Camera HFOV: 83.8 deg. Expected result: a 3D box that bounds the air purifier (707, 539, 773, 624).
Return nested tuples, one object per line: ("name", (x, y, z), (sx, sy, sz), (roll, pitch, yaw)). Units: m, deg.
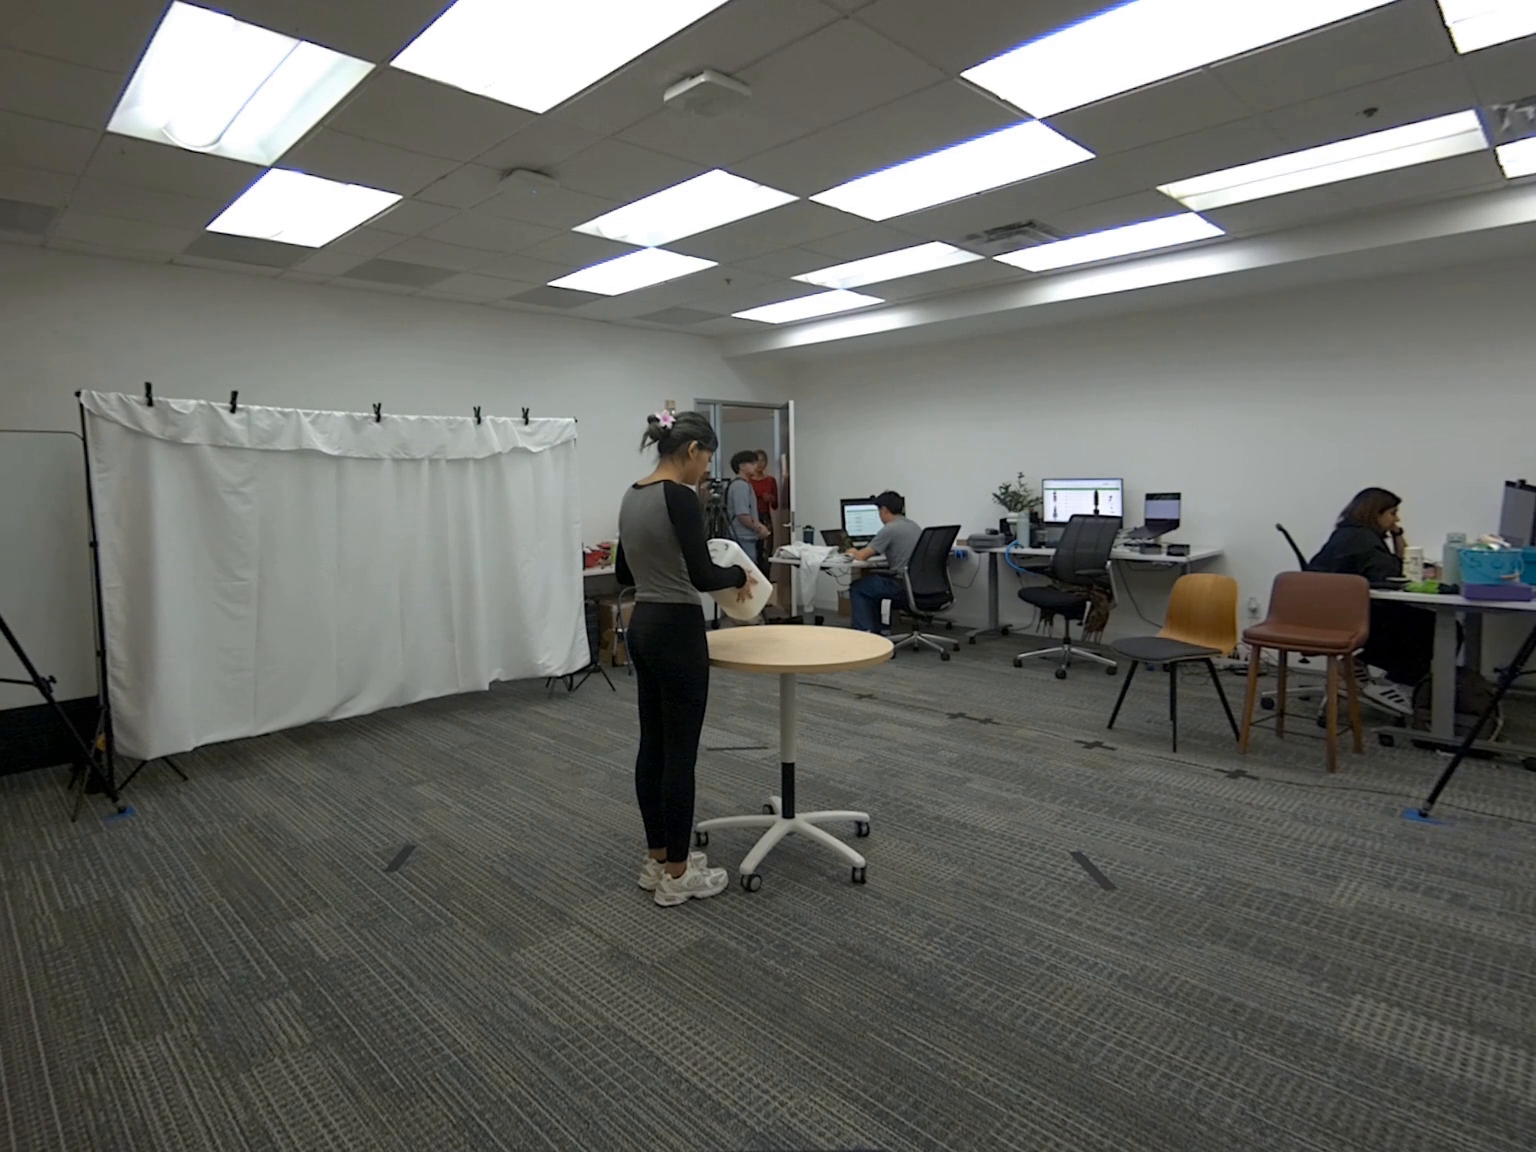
("air purifier", (-0.132, 0.009, 3.043), (0.177, 0.171, 0.256), (11, -31, 48))
